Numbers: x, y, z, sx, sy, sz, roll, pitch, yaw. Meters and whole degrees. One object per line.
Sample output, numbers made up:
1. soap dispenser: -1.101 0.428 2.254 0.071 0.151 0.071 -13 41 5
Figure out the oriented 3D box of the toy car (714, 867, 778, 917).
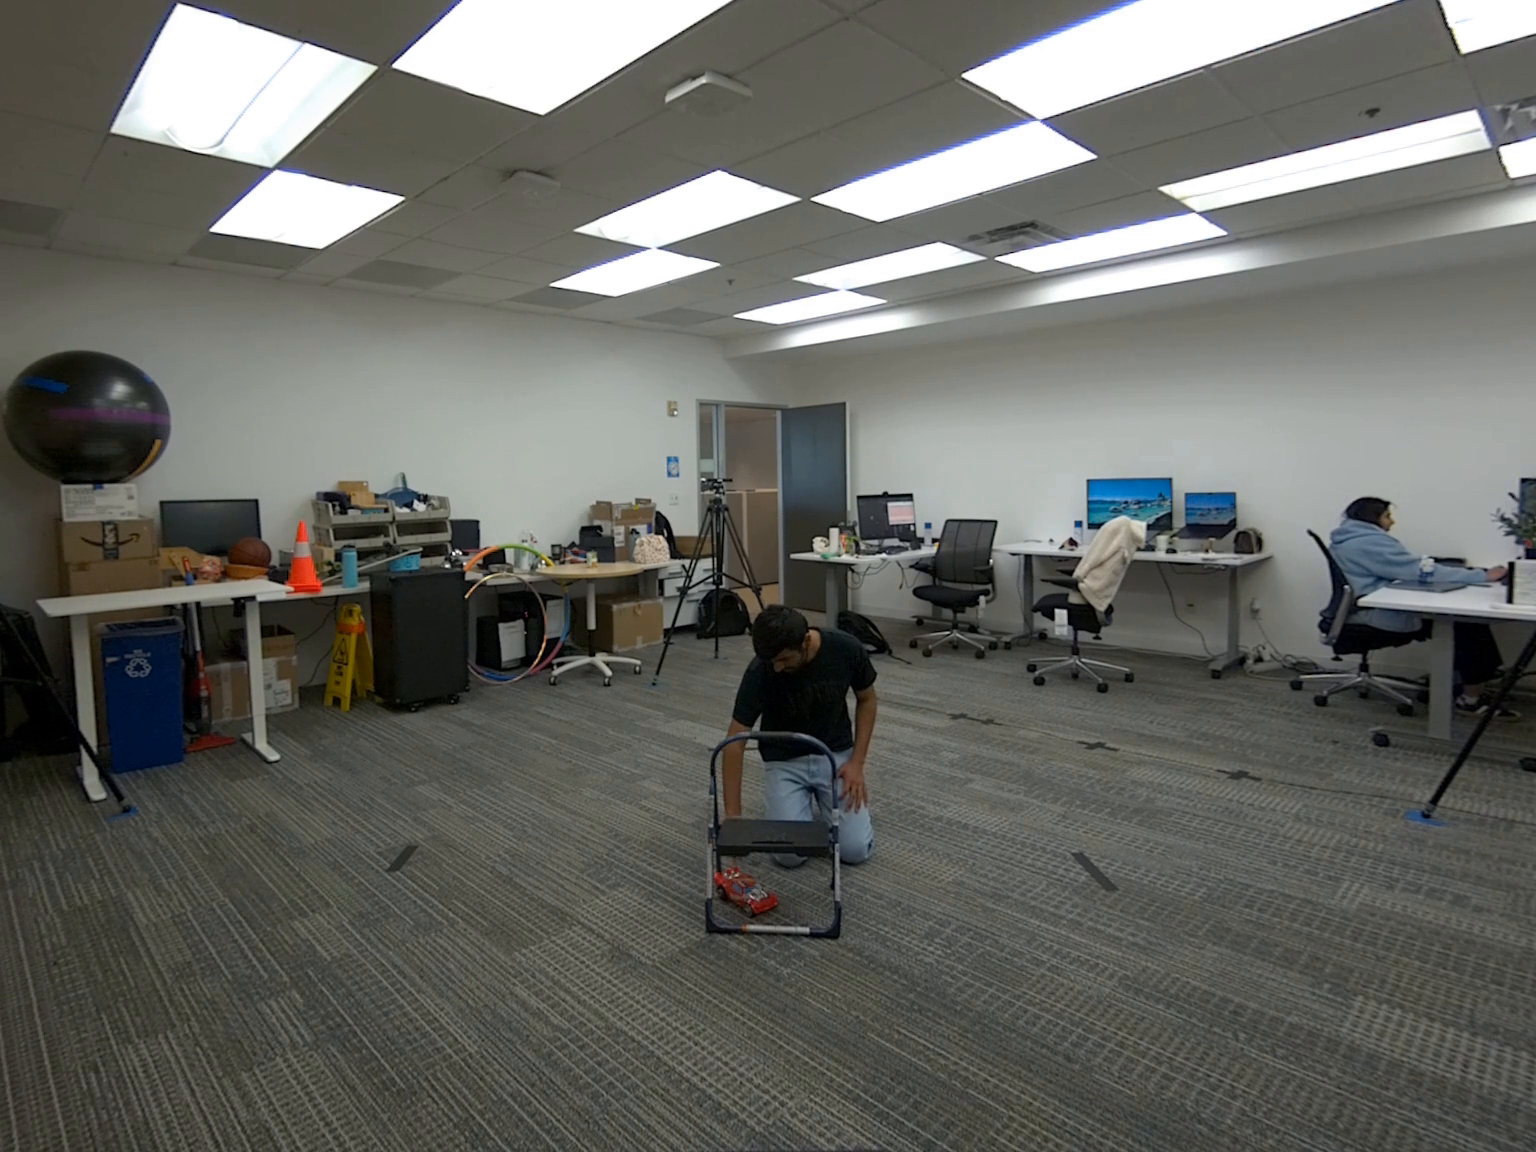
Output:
1. toy car: -0.078 1.048 2.833 0.127 0.082 0.264 -6 19 -36
